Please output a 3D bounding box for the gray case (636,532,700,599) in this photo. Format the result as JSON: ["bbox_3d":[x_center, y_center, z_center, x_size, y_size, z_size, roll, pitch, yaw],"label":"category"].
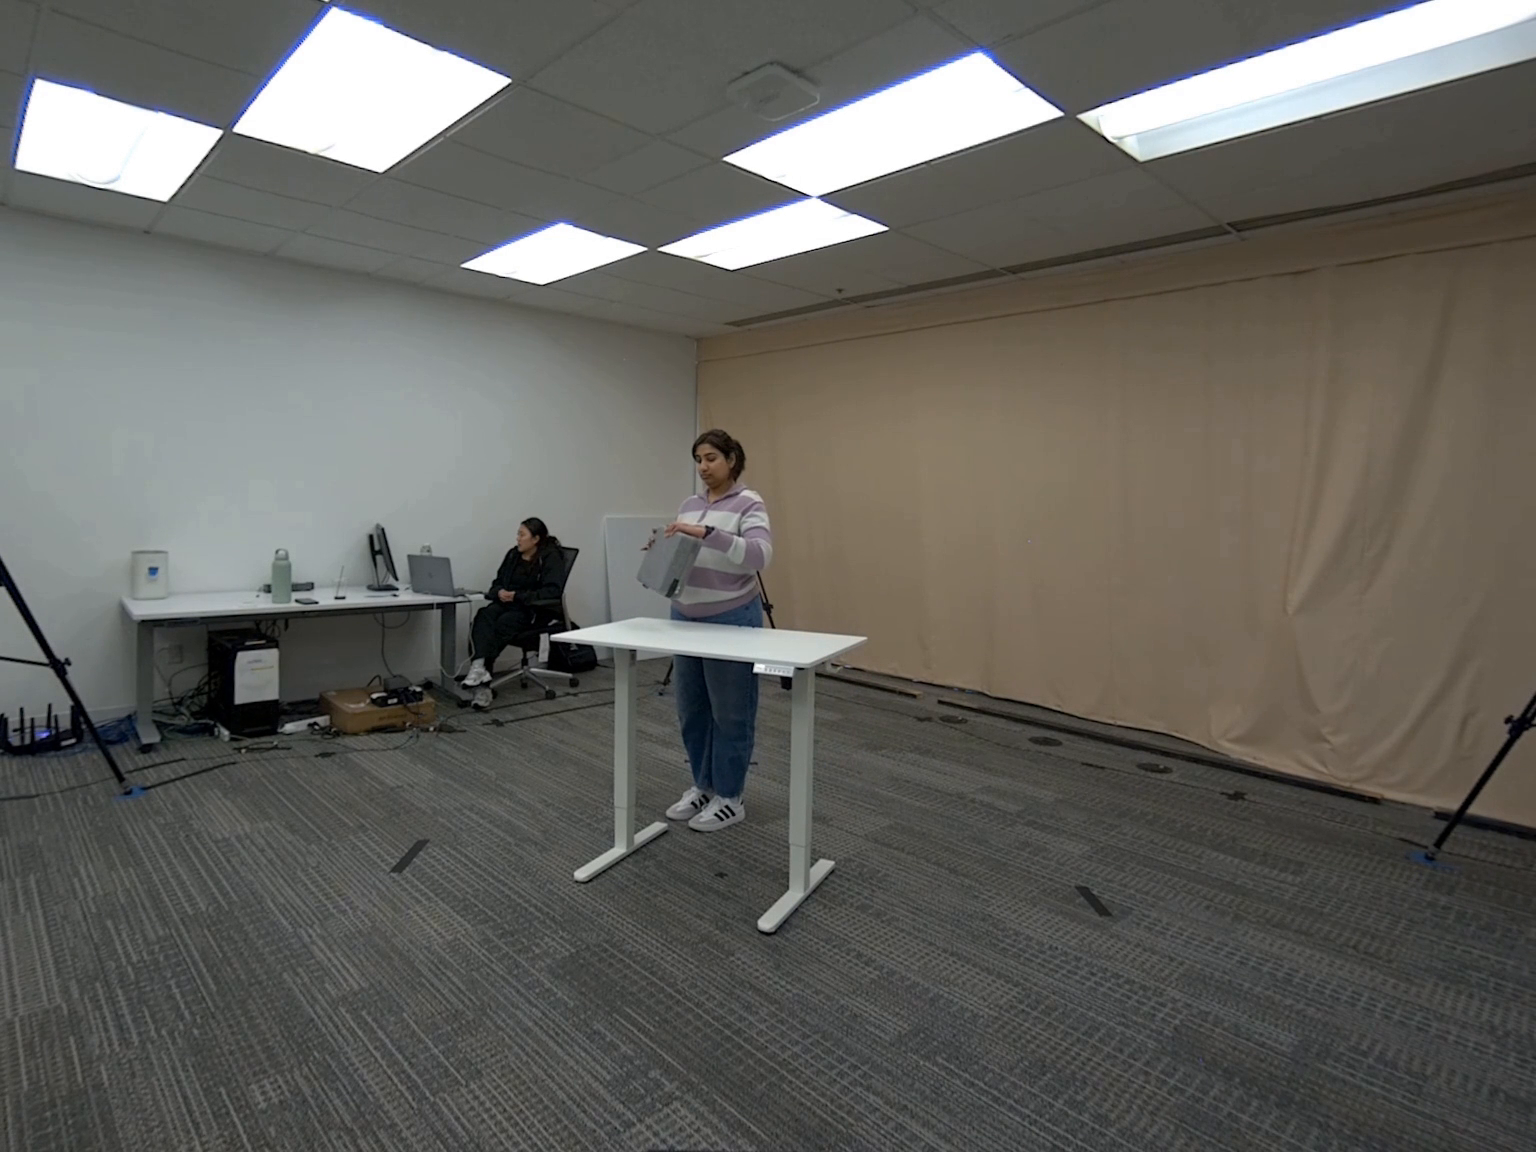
[{"bbox_3d":[-0.404,-0.061,3.306,0.102,0.257,0.267,21,0,-31],"label":"gray case"}]
